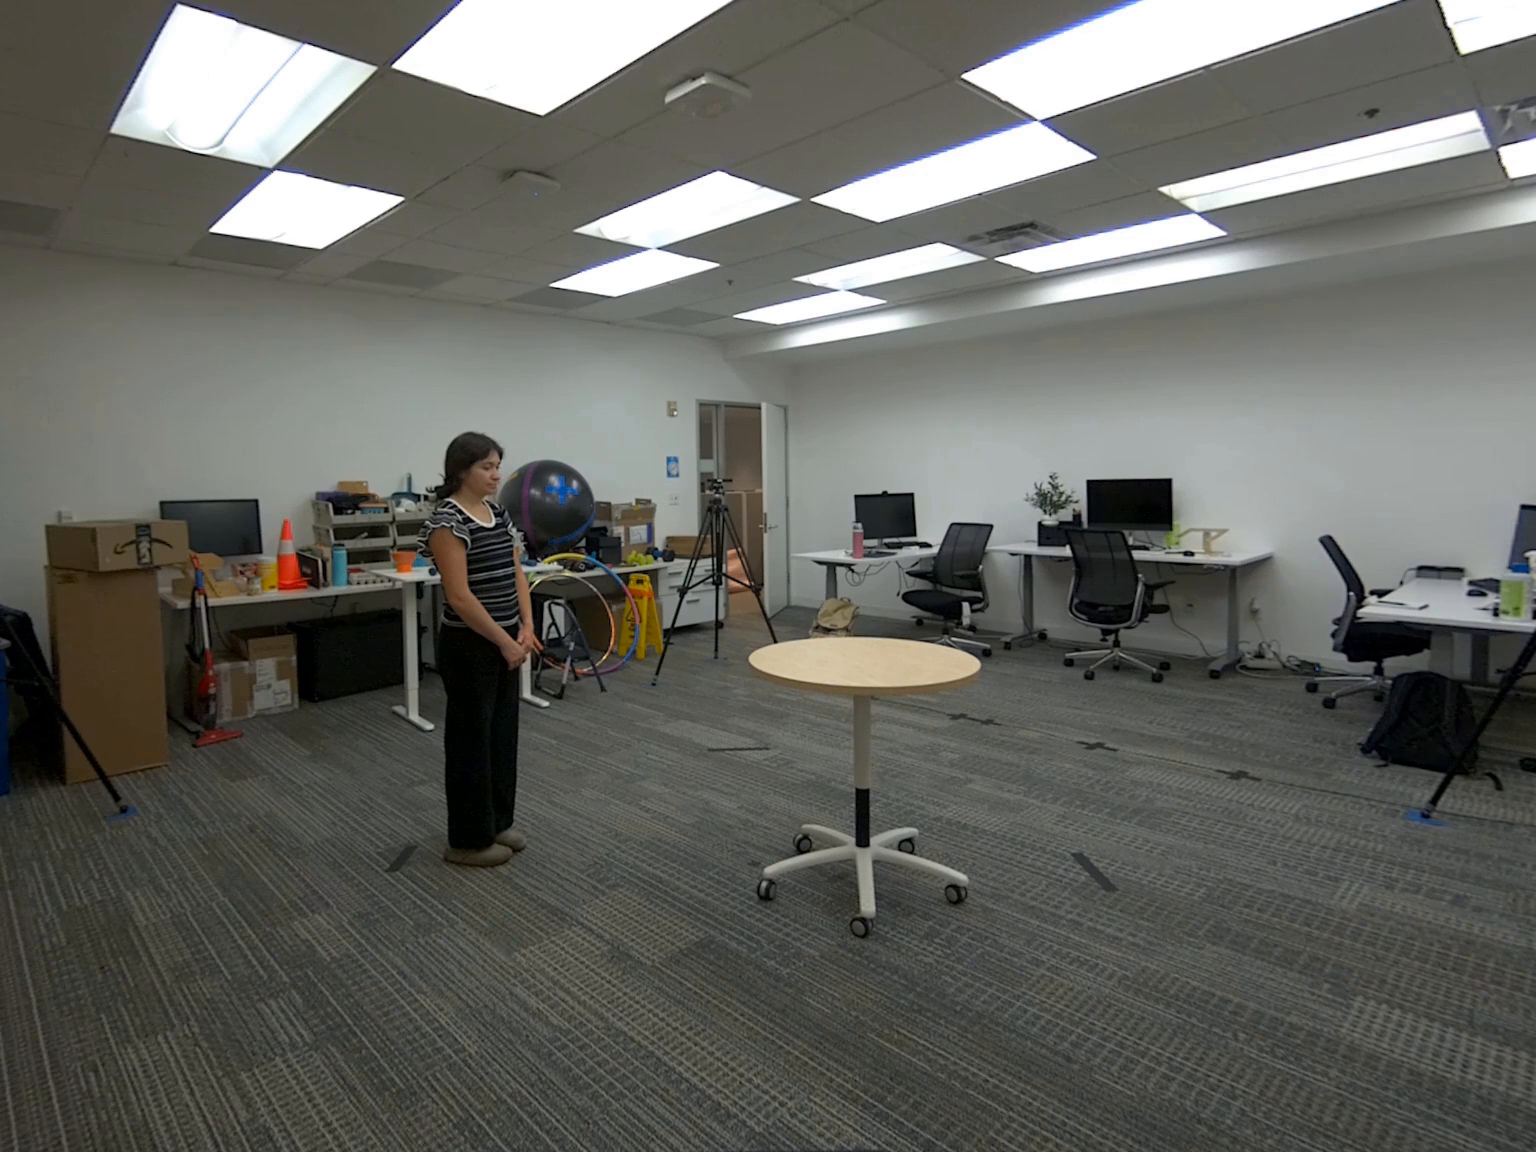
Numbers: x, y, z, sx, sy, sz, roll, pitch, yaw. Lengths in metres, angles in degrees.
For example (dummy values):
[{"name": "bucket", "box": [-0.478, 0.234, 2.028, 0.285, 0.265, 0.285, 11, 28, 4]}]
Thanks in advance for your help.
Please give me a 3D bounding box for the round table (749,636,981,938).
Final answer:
[{"name": "round table", "box": [0.314, 0.669, 2.900, 0.763, 0.791, 0.768, -1, 5, -2]}]
